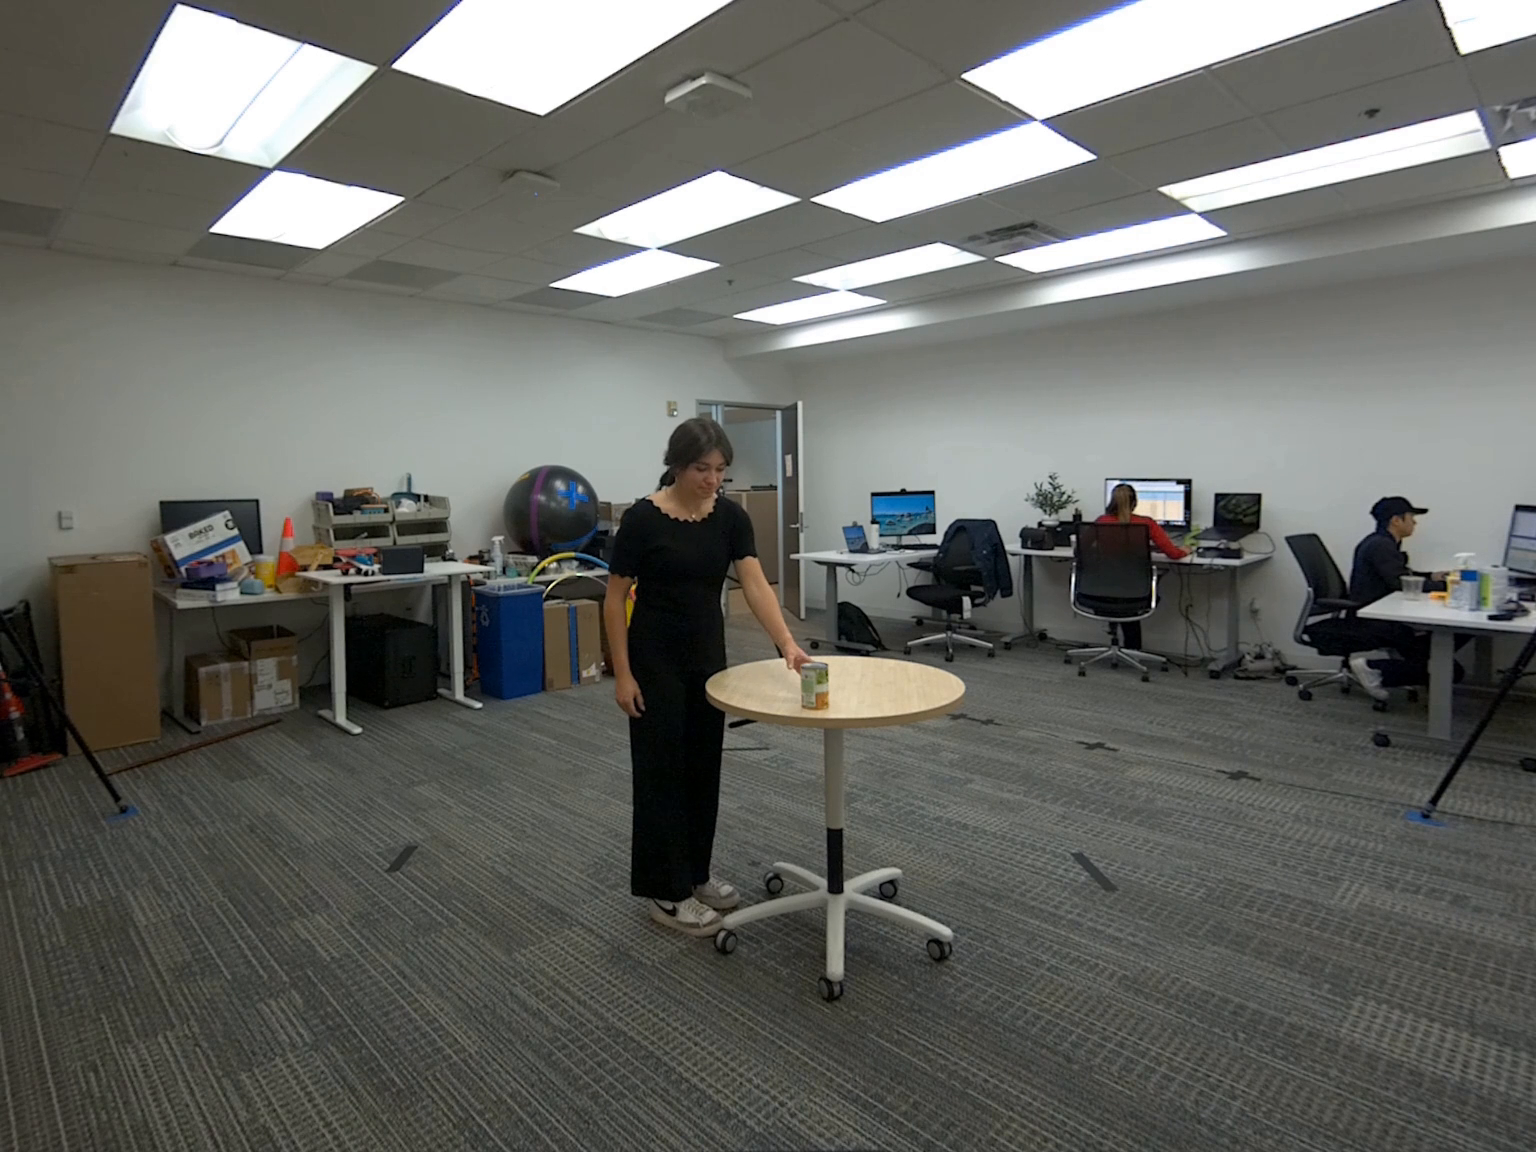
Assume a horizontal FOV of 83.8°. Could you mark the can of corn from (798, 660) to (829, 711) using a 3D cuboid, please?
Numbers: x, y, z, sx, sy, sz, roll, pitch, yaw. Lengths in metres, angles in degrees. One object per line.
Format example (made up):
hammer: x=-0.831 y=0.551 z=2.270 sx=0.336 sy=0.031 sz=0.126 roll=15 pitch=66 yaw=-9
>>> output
can of corn: x=0.120 y=0.290 z=2.303 sx=0.074 sy=0.110 sz=0.074 roll=-2 pitch=5 yaw=-1
